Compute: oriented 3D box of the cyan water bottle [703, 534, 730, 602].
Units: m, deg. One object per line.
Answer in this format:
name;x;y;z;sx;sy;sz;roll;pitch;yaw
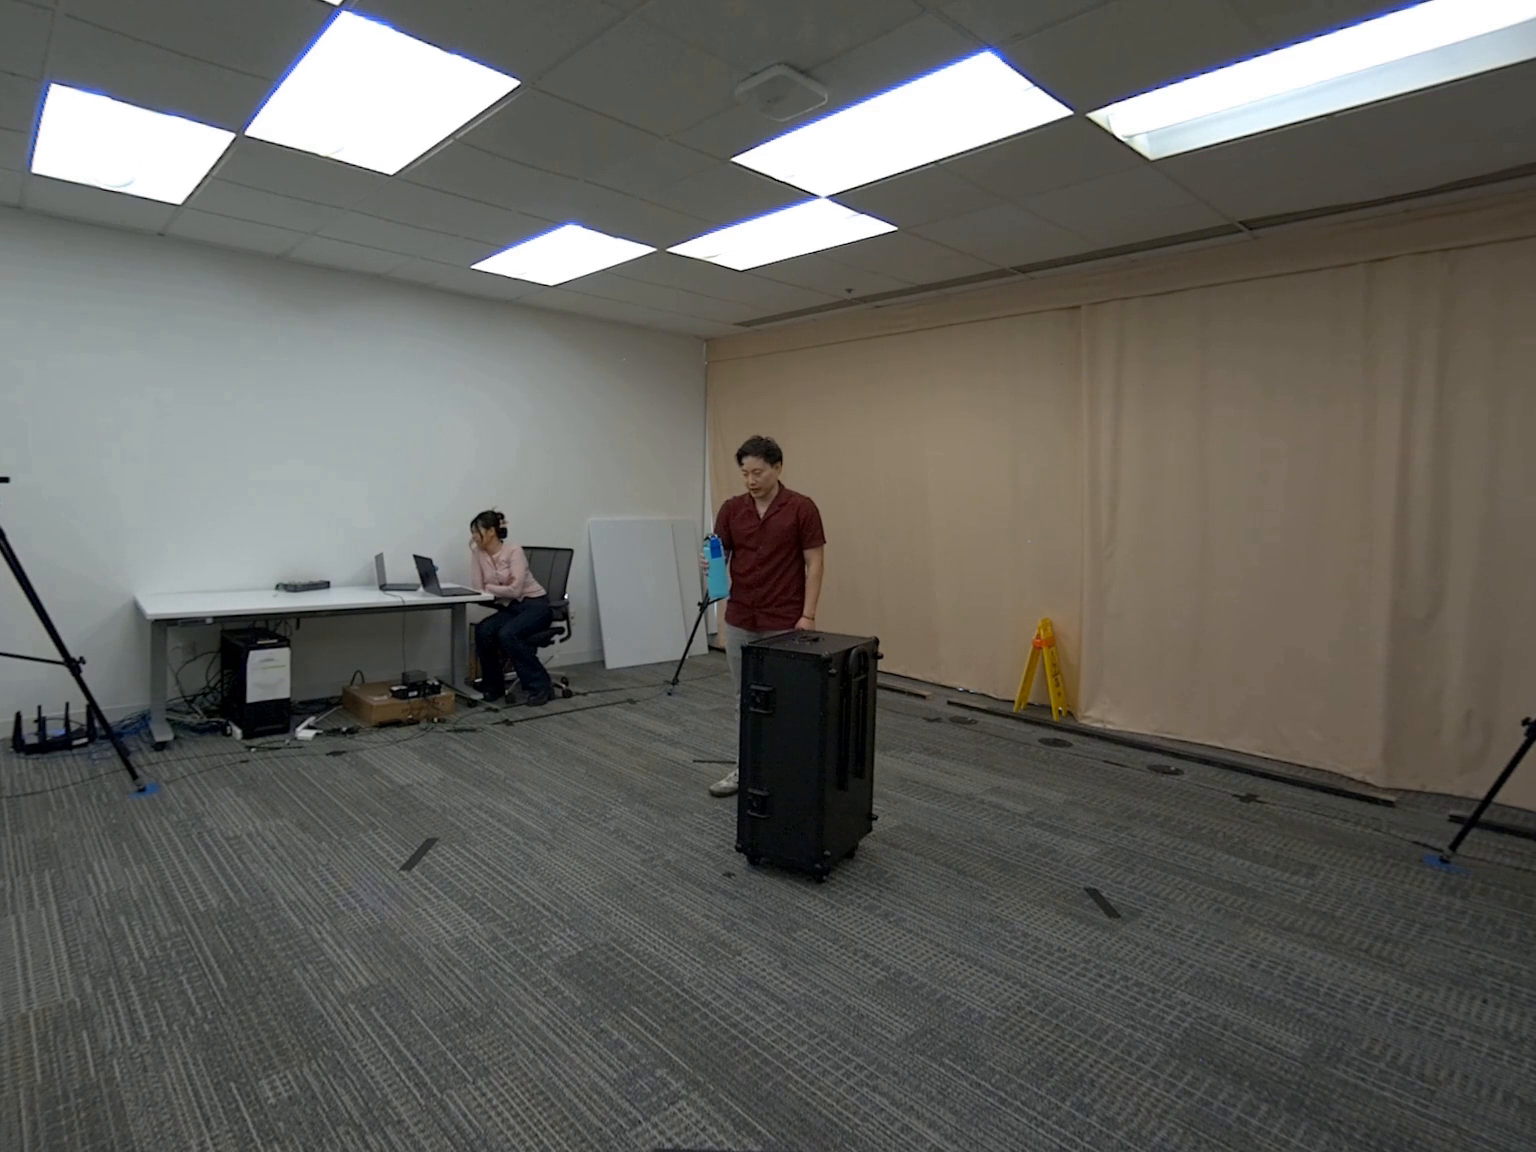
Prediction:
cyan water bottle;-0.241;-0.049;3.685;0.092;0.282;0.093;-5;5;-1
